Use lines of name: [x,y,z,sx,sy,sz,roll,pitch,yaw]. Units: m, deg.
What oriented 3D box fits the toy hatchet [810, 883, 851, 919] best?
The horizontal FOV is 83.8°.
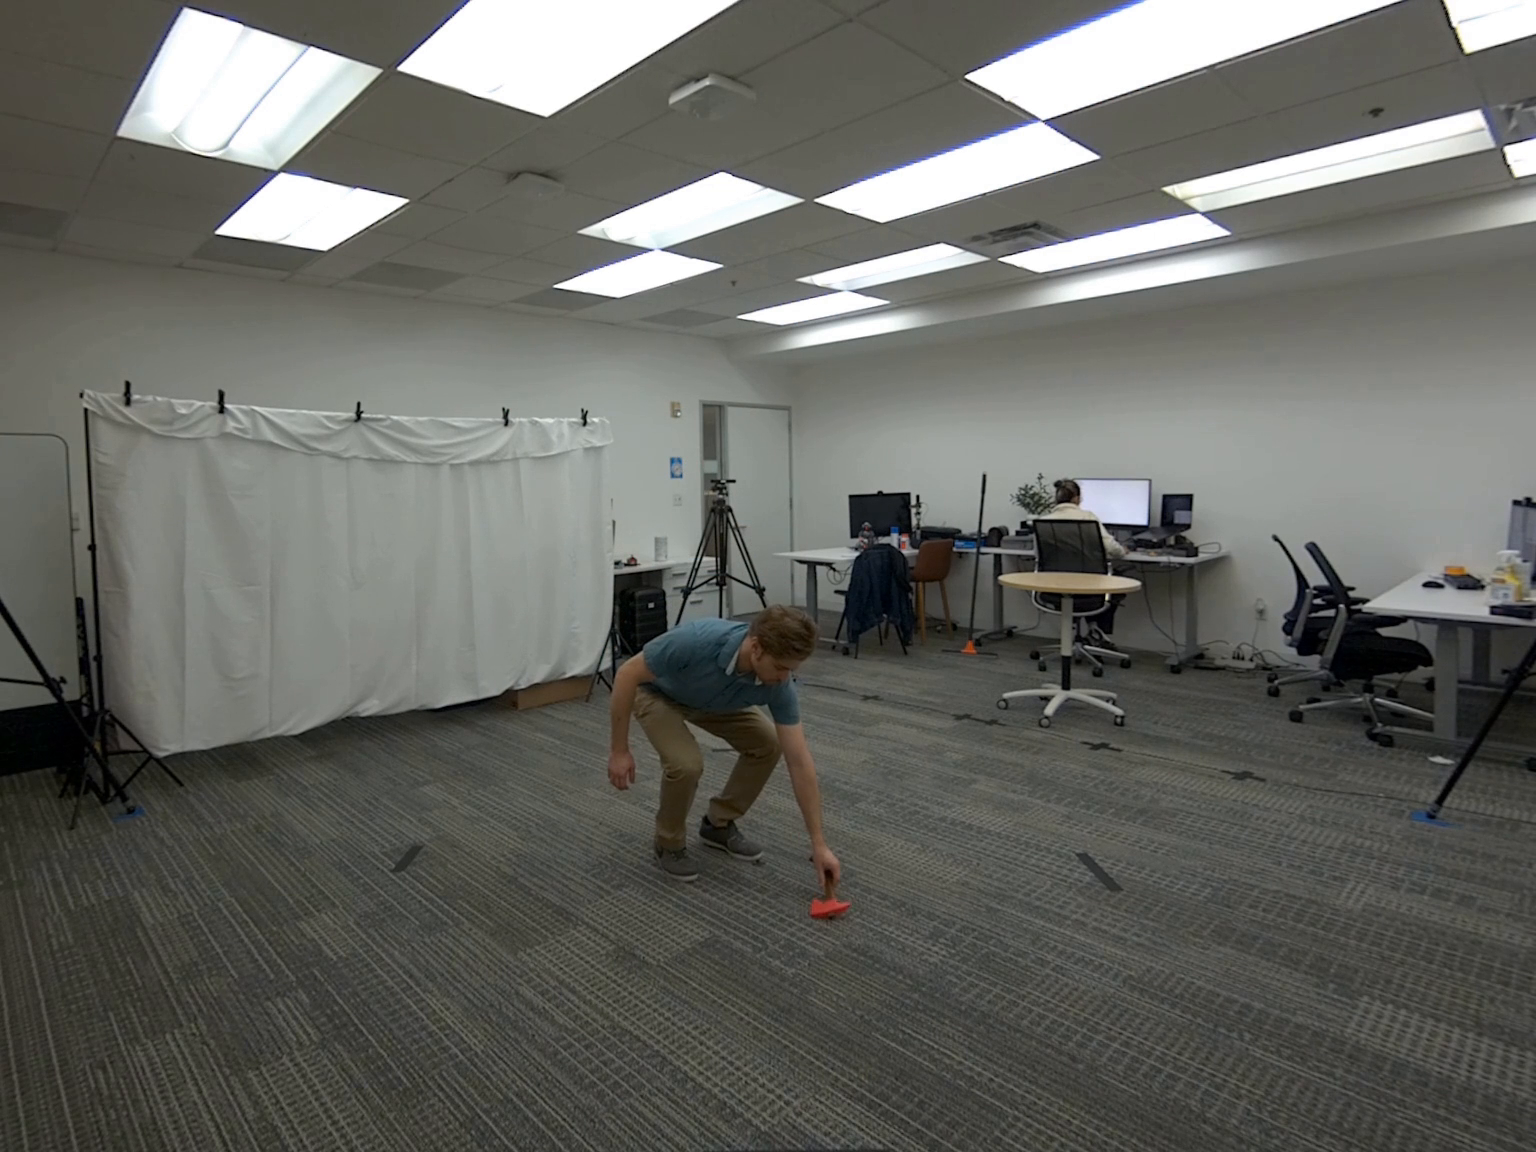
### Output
toy hatchet: [0.166,1.034,2.811,0.130,0.029,0.278,-28,24,-12]
